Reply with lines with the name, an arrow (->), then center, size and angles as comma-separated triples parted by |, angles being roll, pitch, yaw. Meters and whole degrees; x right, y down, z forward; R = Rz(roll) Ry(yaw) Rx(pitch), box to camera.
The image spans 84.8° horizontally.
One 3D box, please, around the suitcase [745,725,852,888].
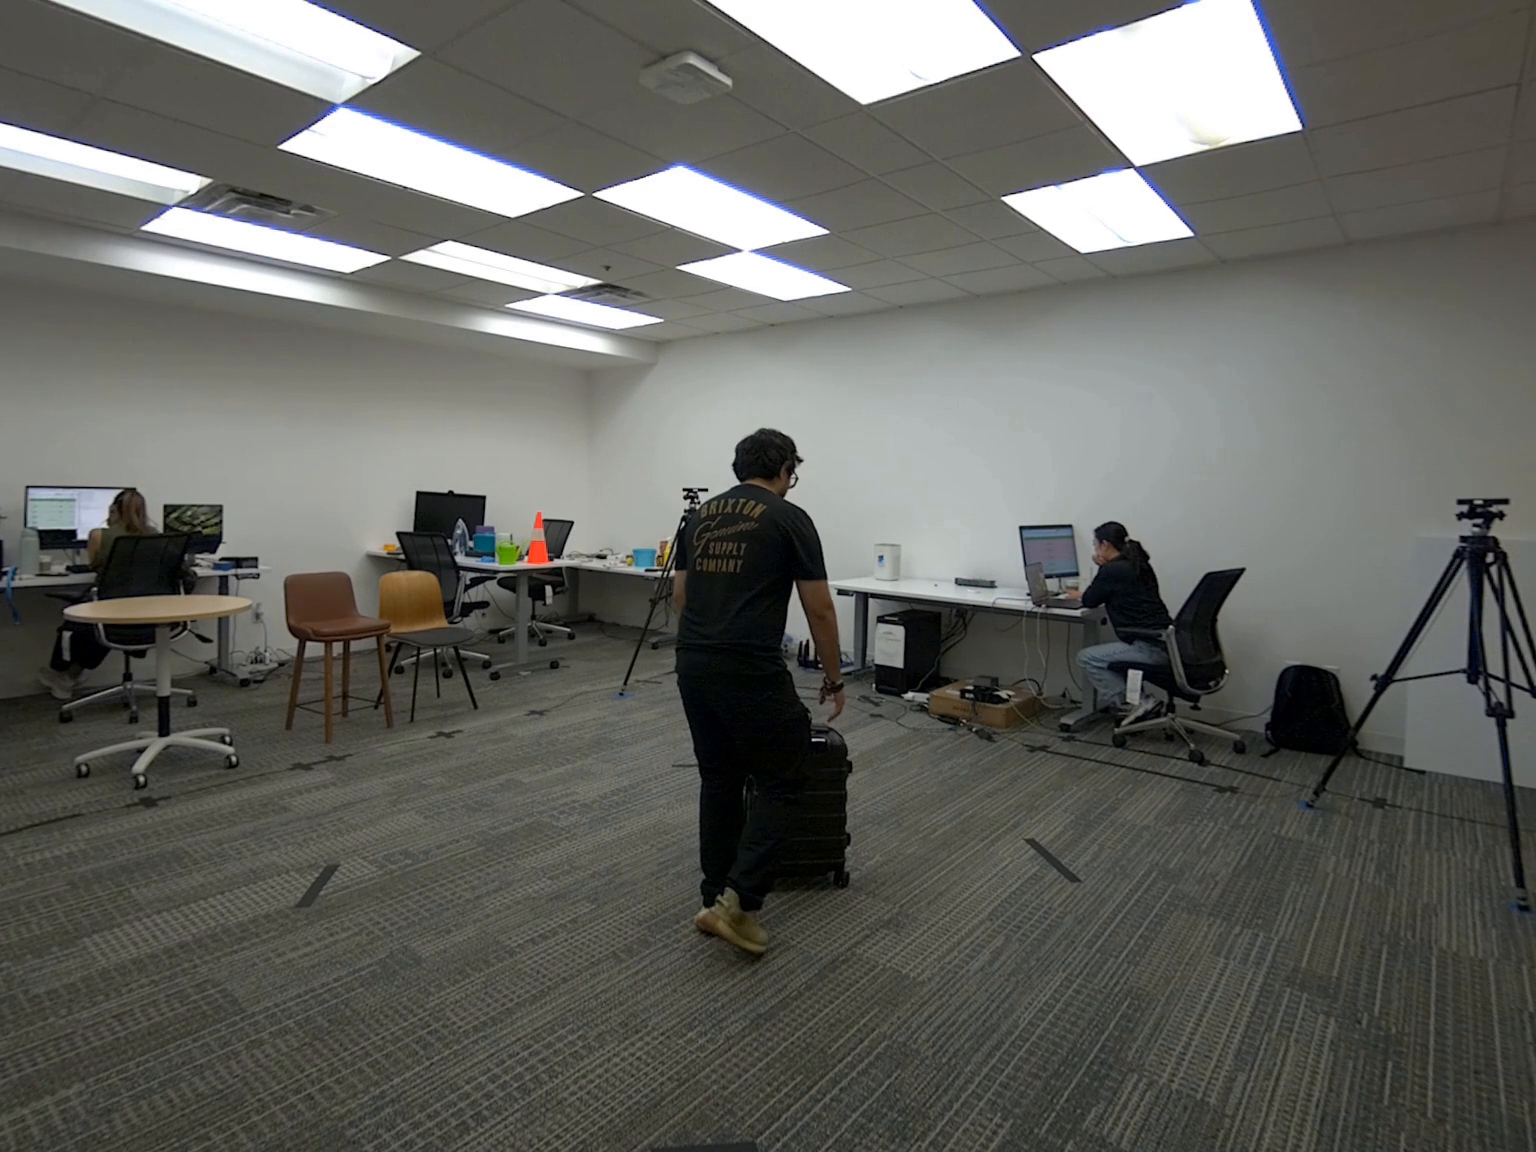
suitcase -> 0.088, 0.802, 3.050 | 0.371, 0.548, 0.252 | 1, 2, -12
